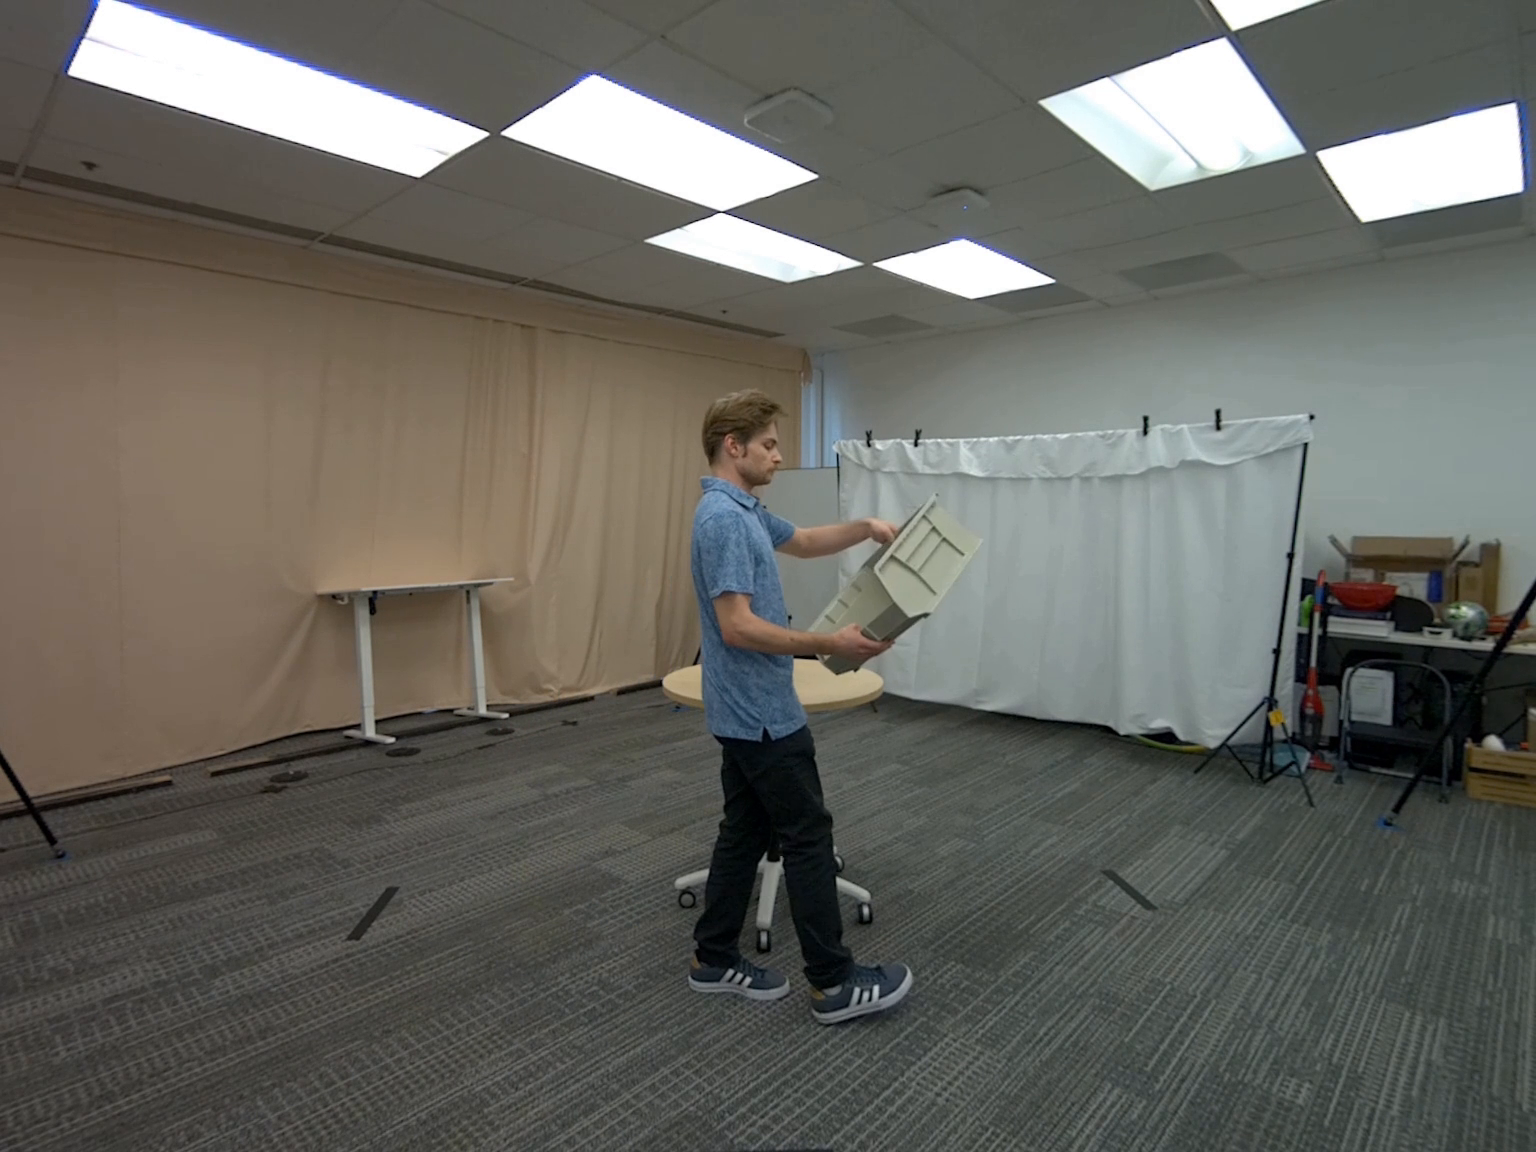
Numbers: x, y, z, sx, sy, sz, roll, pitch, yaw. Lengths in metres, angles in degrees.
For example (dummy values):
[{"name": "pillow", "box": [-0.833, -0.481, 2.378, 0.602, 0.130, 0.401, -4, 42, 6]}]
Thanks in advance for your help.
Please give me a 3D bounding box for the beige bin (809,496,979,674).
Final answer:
[{"name": "beige bin", "box": [0.342, 0.043, 2.292, 0.374, 0.190, 0.424, -46, -4, -35]}]
